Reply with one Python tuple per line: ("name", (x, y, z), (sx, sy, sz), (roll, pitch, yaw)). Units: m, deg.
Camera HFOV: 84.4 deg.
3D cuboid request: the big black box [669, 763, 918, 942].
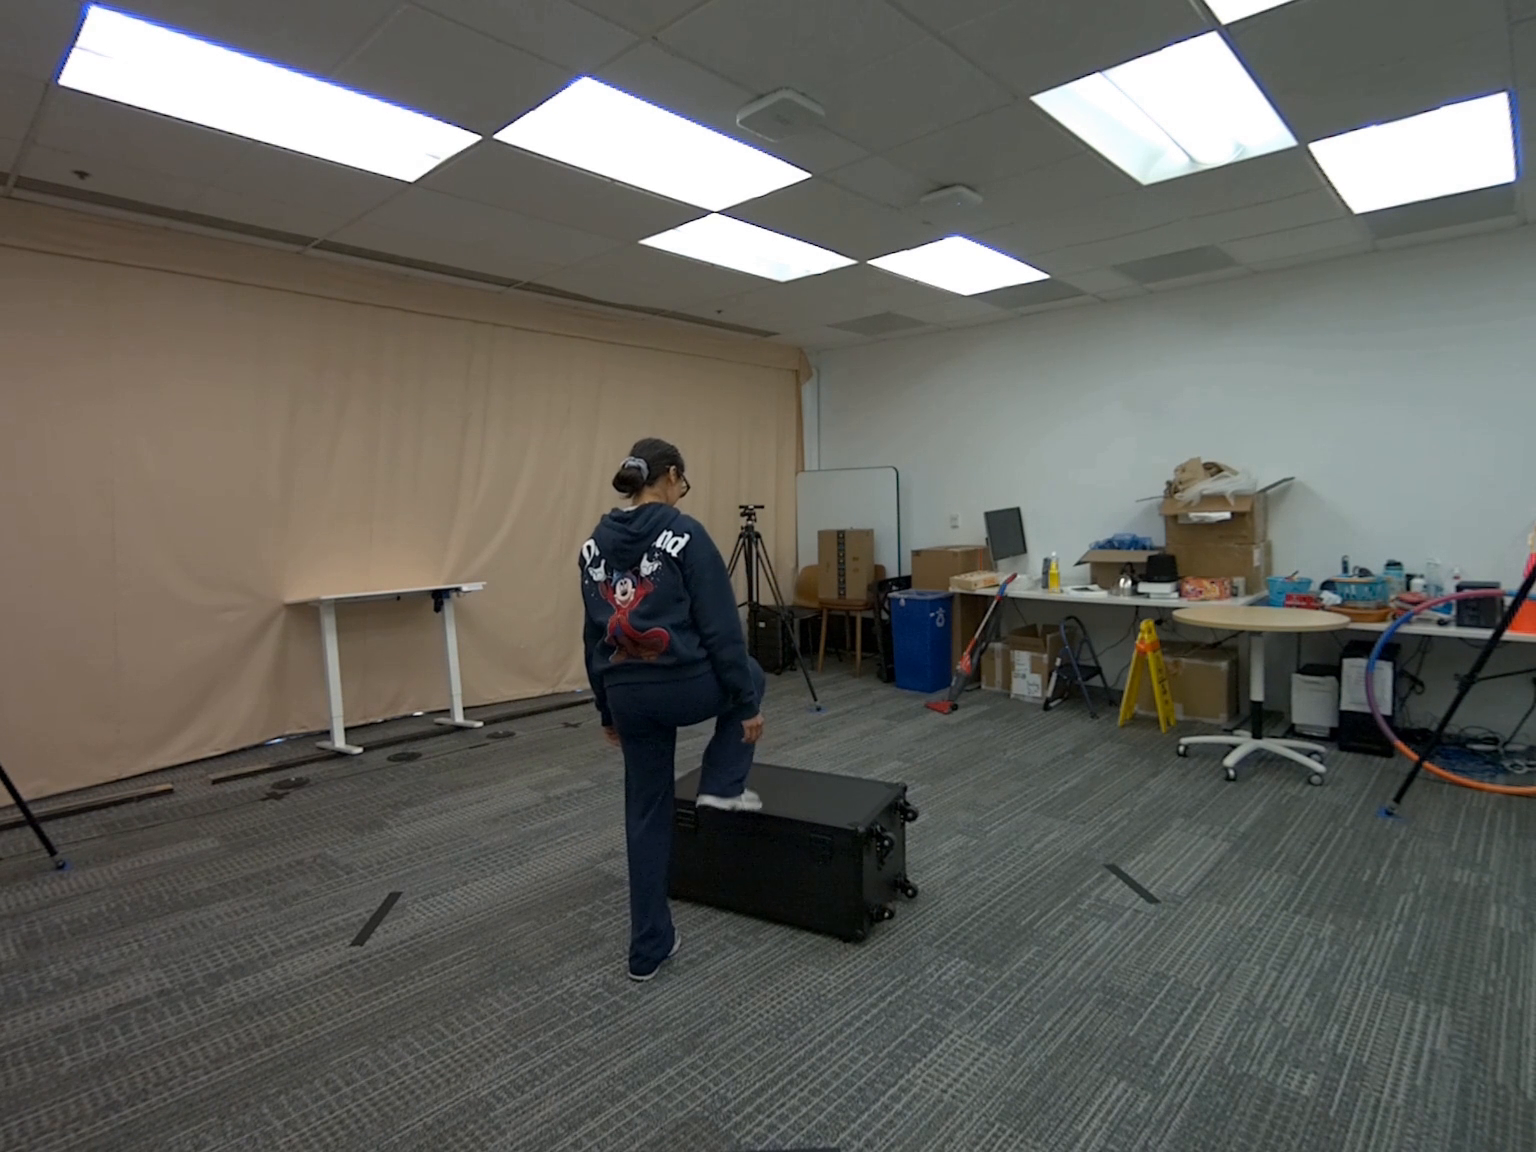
("big black box", (0.080, 0.947, 3.004), (0.884, 0.395, 0.509), (1, 5, 27))
